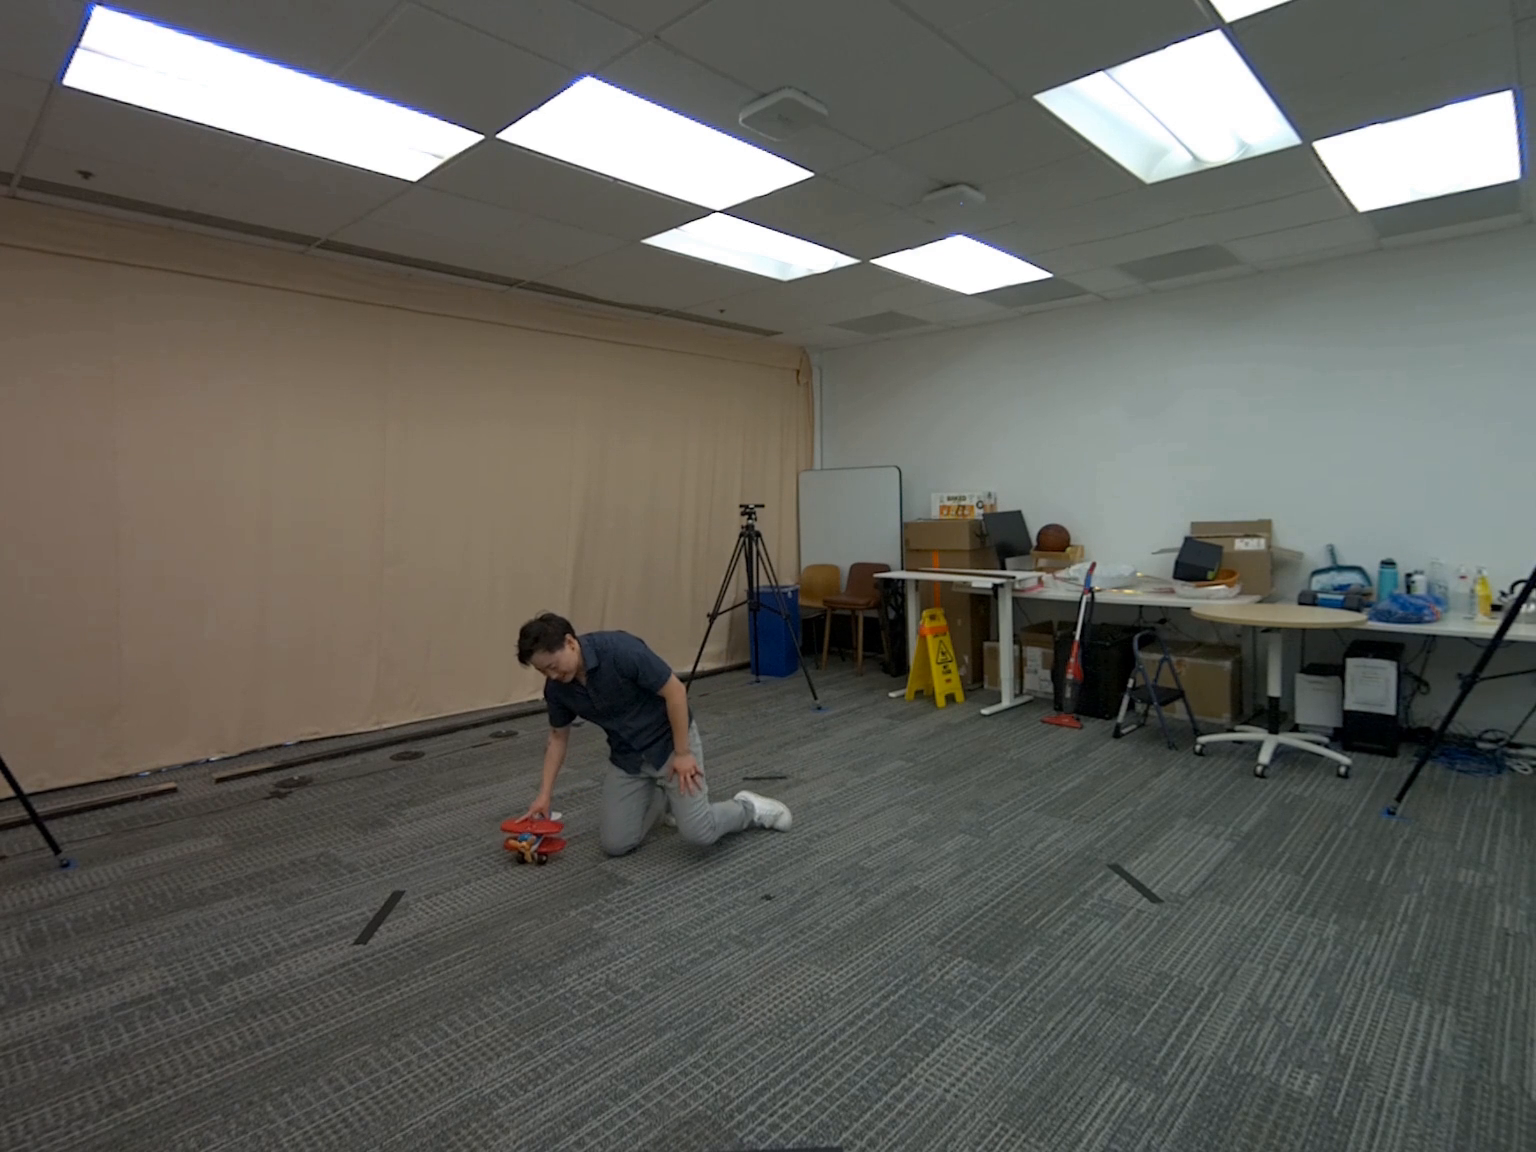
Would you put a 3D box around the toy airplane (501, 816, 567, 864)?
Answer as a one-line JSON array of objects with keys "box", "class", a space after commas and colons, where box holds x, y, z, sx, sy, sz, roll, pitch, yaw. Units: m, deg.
[{"box": [-0.942, 1.033, 3.372, 0.248, 0.153, 0.267, -14, 30, -15], "class": "toy airplane"}]
